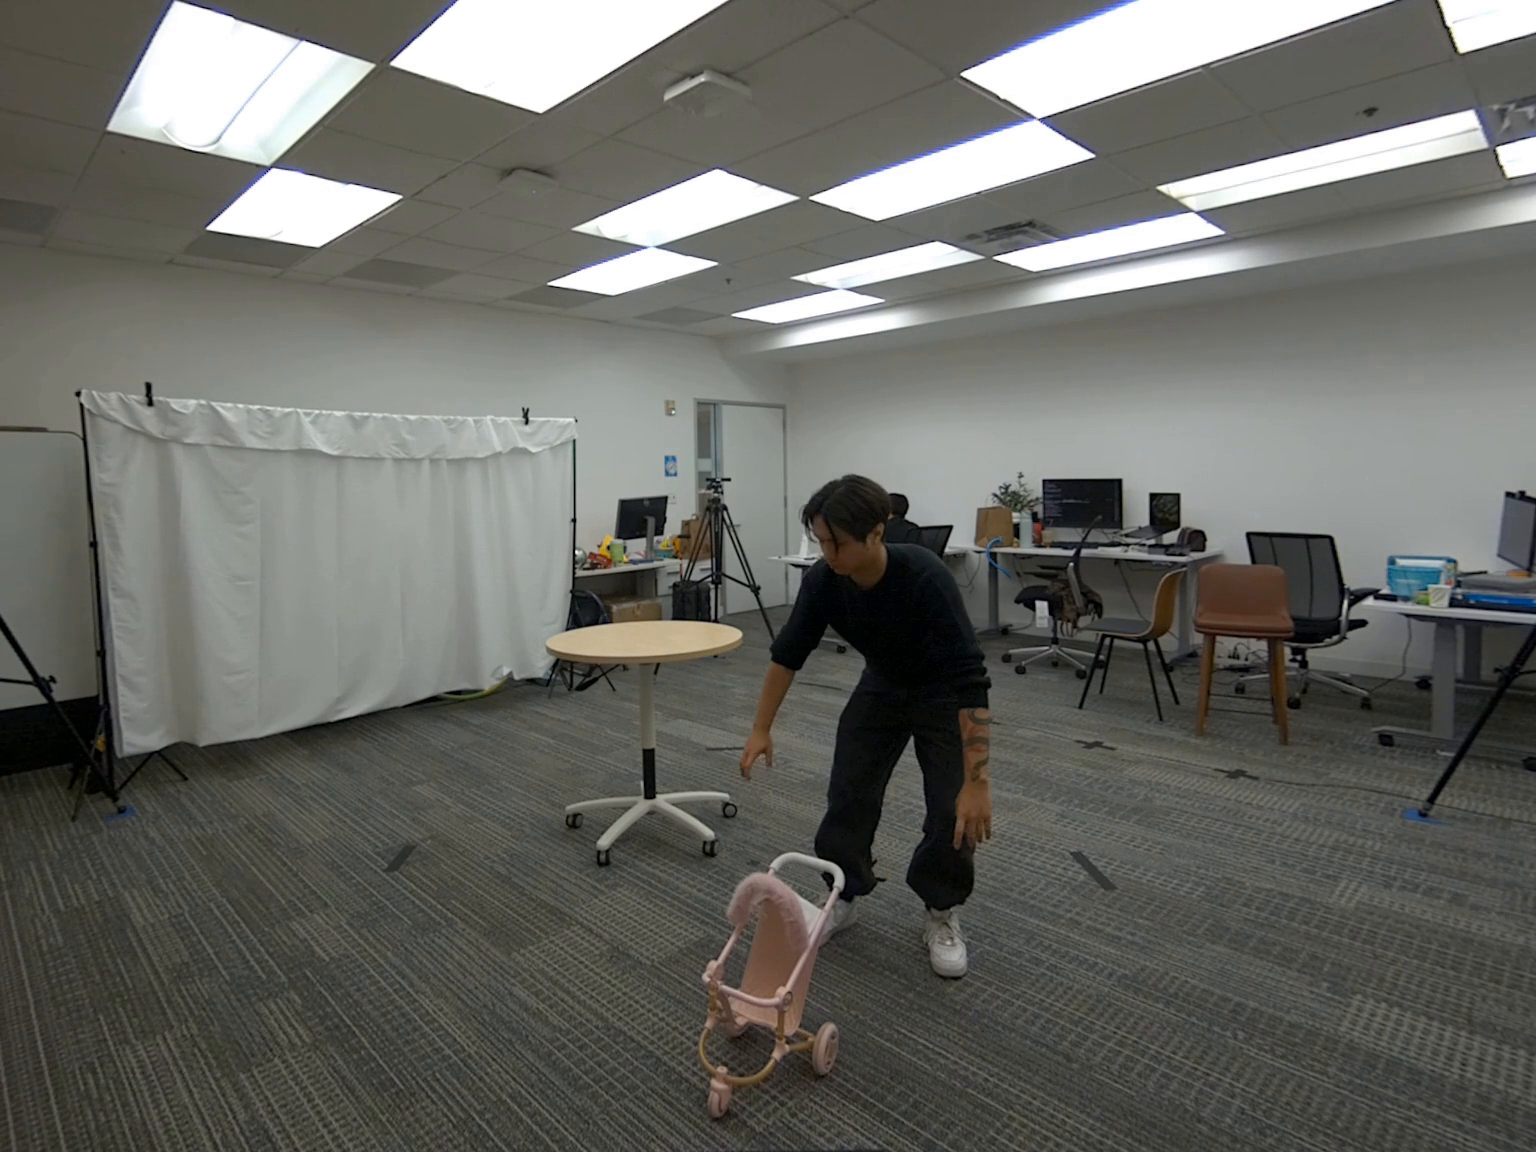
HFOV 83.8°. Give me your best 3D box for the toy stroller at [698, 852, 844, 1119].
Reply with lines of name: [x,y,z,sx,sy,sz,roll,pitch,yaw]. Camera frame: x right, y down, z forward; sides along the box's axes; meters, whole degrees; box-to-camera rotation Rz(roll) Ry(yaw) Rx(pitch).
toy stroller: [0.000,0.948,2.020,0.290,0.539,0.329,2,-12,38]
